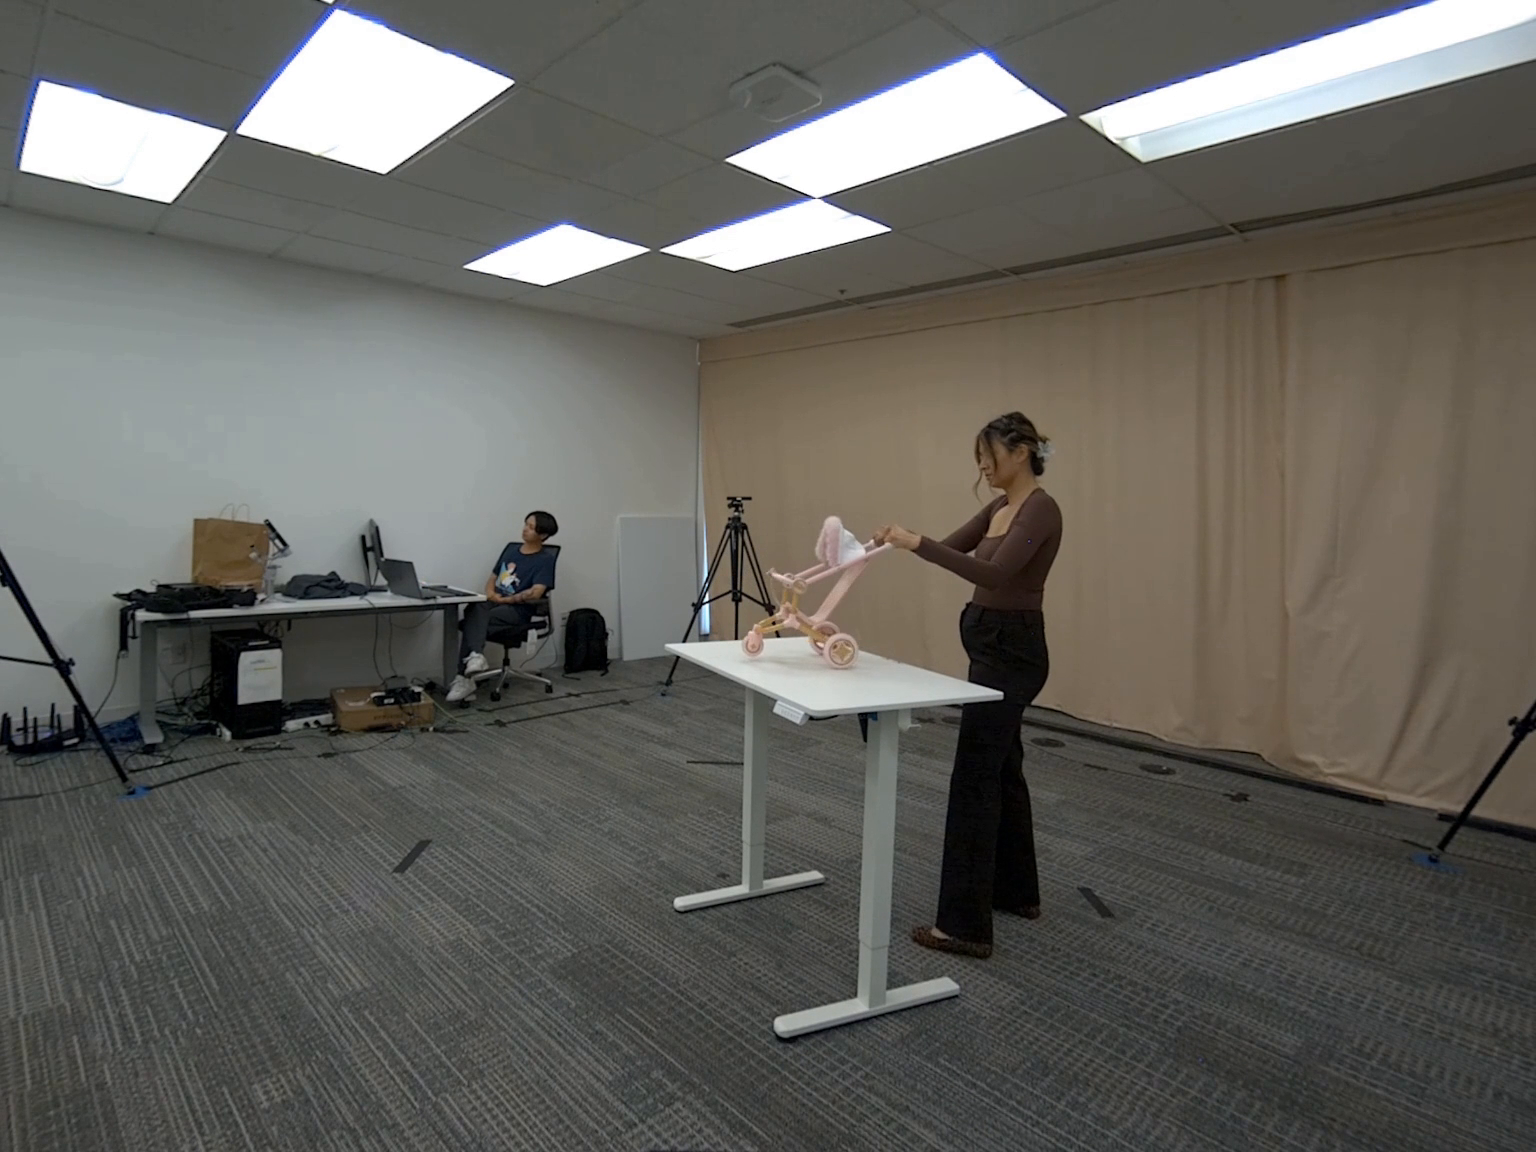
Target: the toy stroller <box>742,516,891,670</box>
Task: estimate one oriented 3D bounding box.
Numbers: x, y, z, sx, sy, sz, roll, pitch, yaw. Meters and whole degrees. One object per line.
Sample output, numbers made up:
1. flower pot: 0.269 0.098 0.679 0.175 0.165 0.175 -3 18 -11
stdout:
1. toy stroller: 0.157 0.047 2.666 0.341 0.535 0.282 20 0 -3
